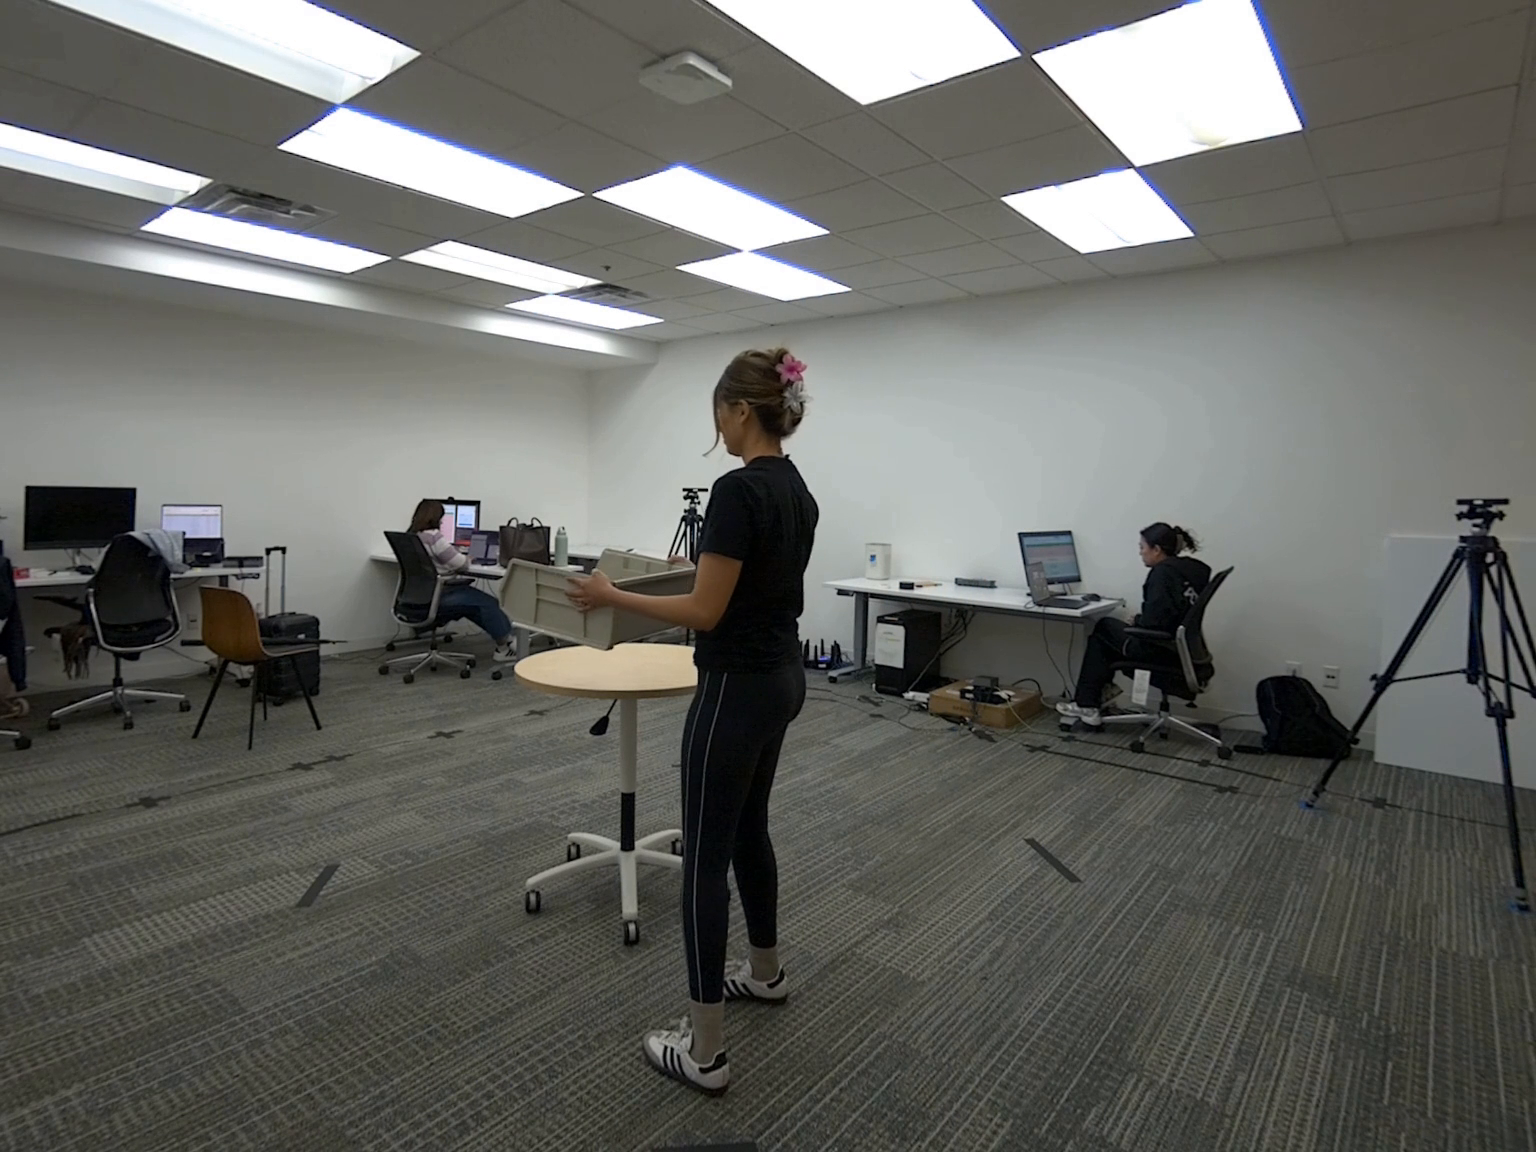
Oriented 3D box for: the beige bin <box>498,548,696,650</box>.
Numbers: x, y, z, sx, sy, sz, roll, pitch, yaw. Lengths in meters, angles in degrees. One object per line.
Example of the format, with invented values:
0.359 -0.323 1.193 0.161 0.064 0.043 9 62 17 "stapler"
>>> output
-0.469 0.051 2.357 0.389 0.188 0.412 13 10 27 "beige bin"
